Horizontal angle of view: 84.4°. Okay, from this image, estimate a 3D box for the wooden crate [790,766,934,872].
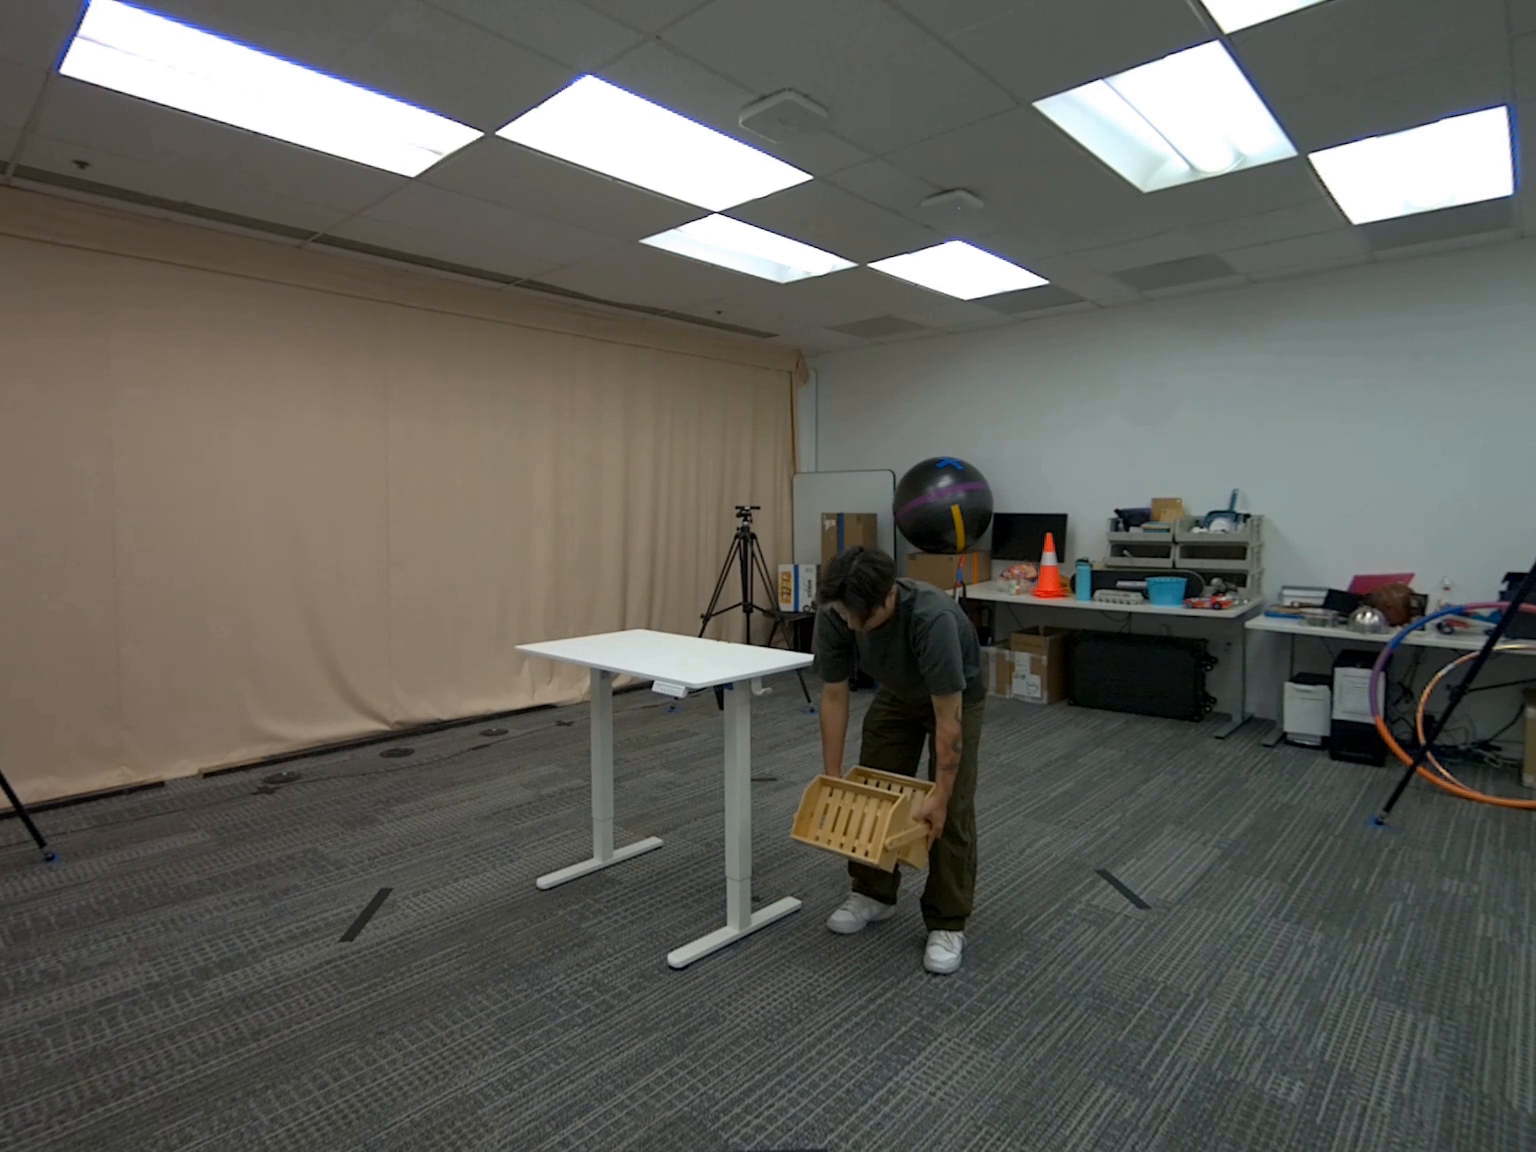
[{"bbox_3d":[0.298,0.704,2.493,0.335,0.303,0.263,2,-29,42],"label":"wooden crate"}]
